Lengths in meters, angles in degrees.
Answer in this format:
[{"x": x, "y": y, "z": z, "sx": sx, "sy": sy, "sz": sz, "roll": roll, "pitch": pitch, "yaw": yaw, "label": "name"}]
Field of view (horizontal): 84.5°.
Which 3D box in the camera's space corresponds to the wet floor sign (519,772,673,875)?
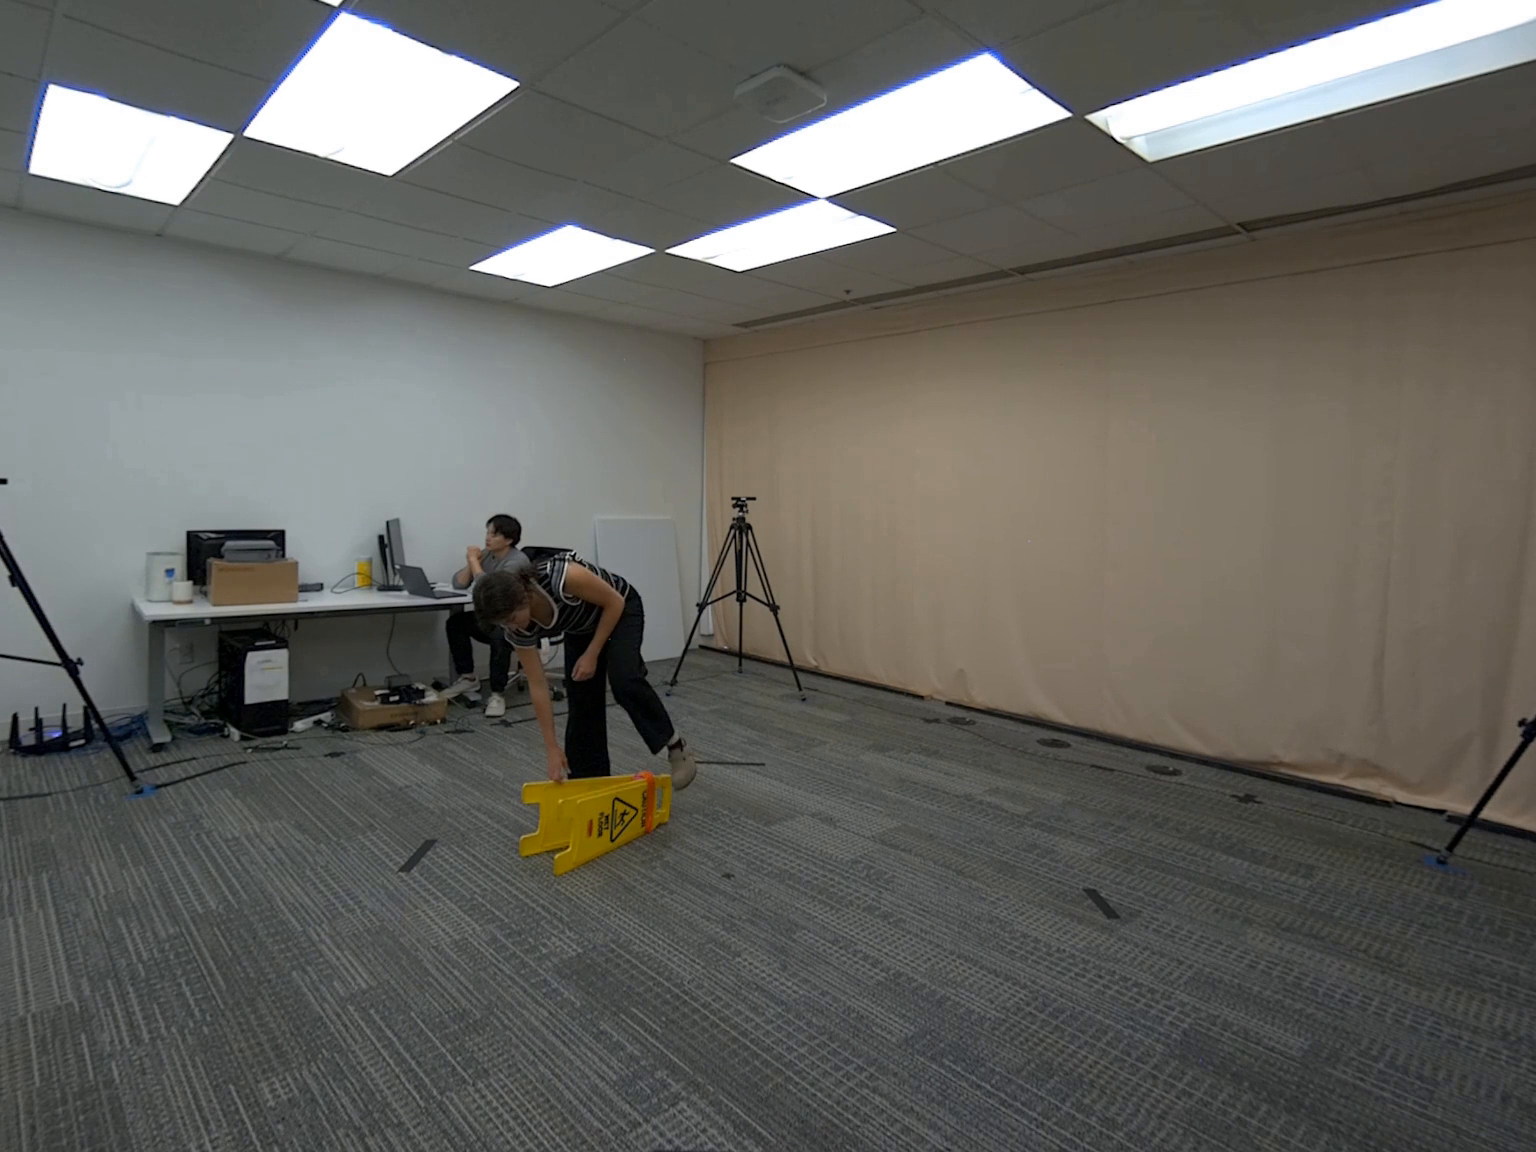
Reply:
[{"x": -0.653, "y": 0.946, "z": 3.378, "sx": 0.297, "sy": 0.282, "sz": 0.630, "roll": 5, "pitch": 3, "yaw": 43, "label": "wet floor sign"}]
